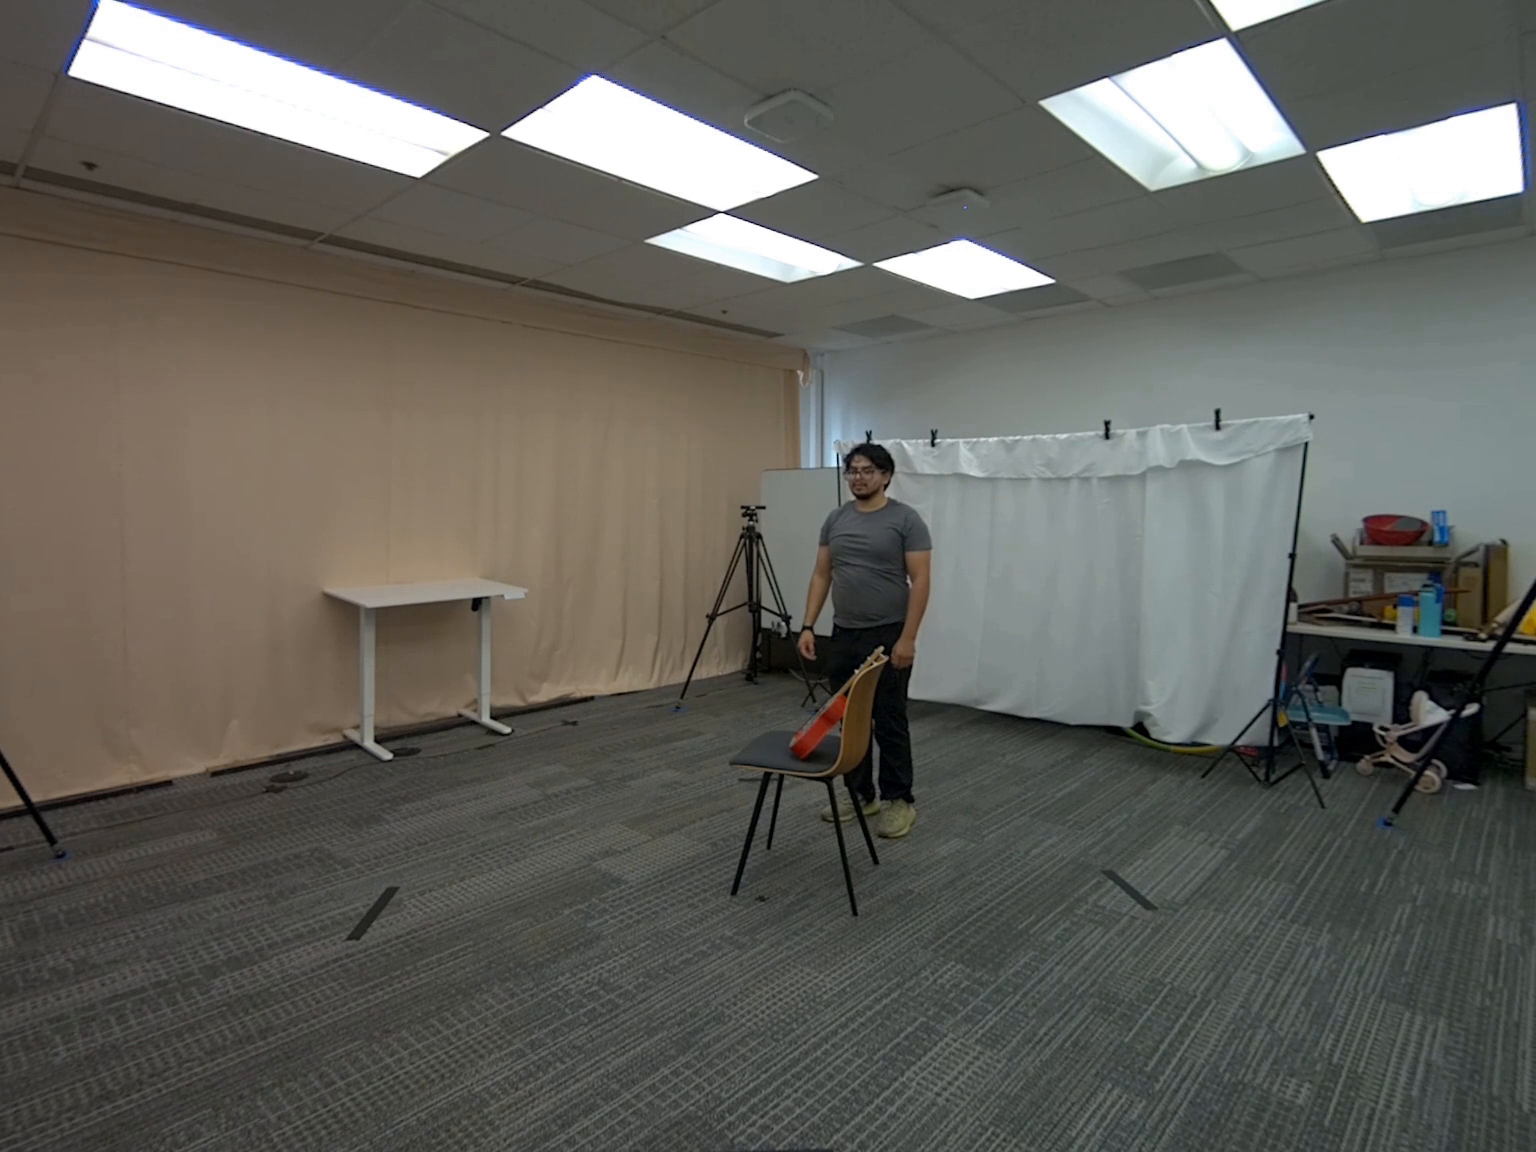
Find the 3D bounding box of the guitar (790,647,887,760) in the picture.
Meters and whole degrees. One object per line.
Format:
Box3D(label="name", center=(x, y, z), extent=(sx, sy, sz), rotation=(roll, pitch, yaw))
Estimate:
Box3D(label="guitar", center=(0.256, 0.459, 3.044), extent=(0.071, 0.499, 0.191), rotation=(42, 9, 3))
